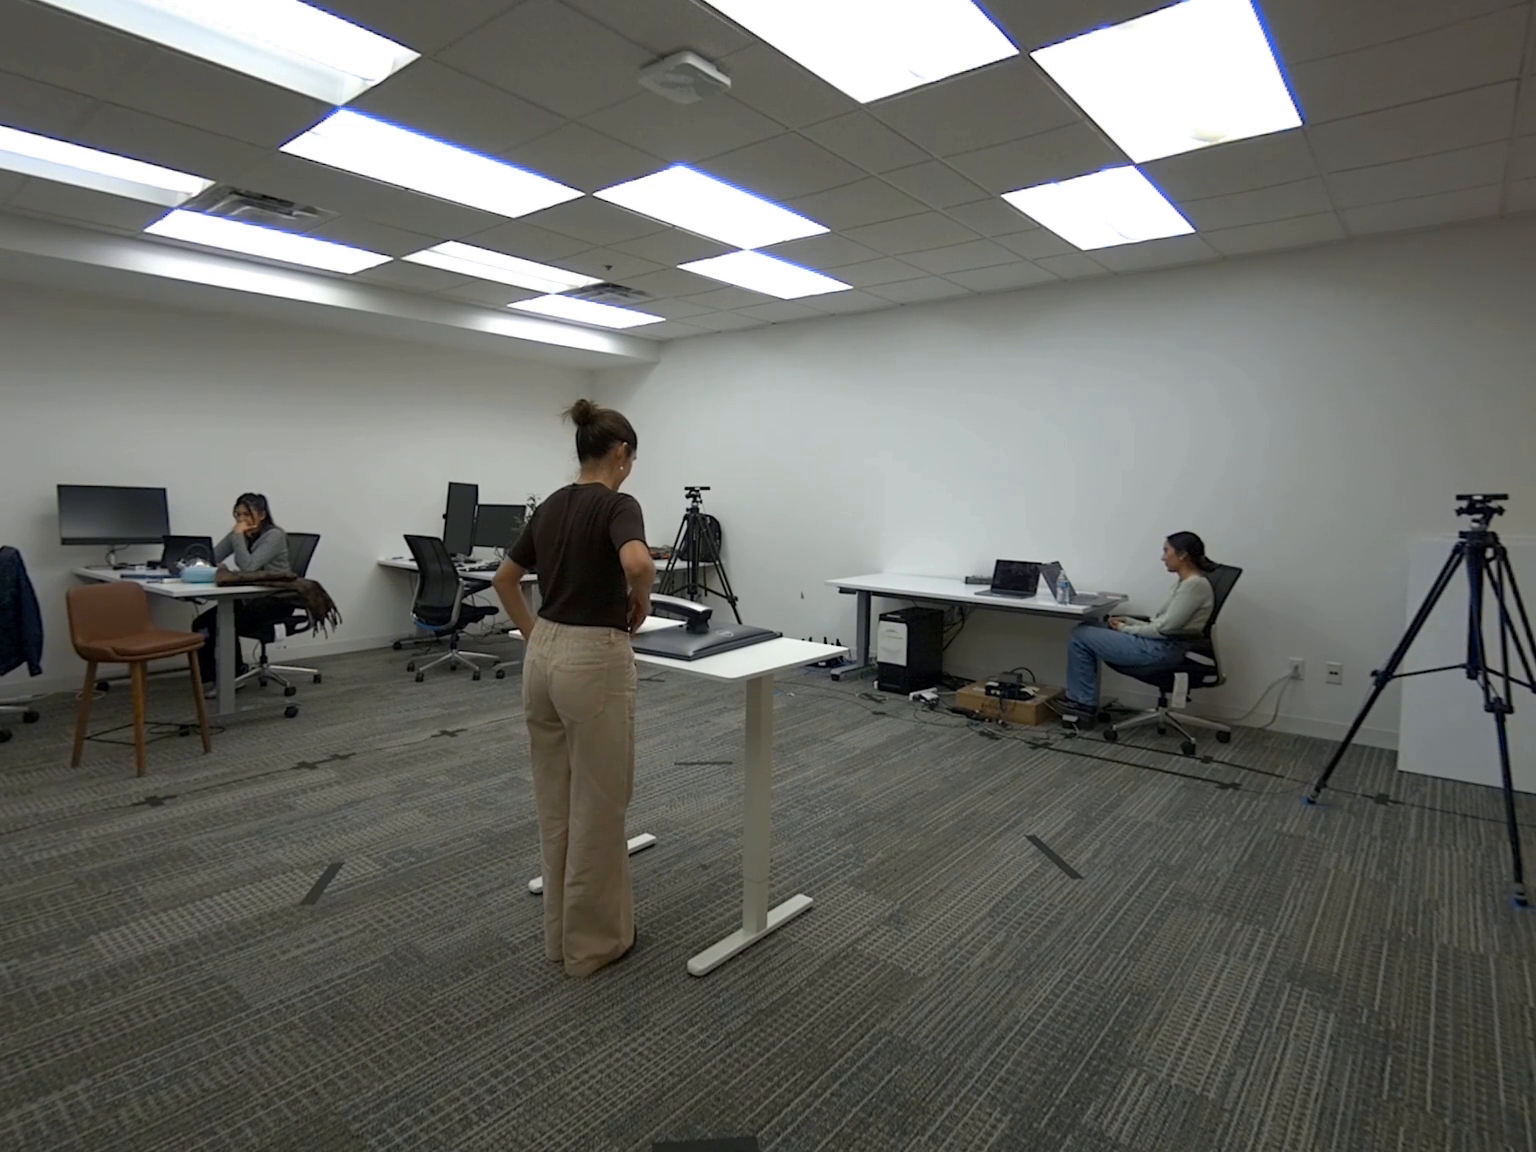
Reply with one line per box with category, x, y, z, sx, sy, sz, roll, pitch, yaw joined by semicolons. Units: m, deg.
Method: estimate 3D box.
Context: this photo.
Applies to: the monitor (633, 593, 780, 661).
monitor;-0.312;0.155;2.845;0.542;0.185;0.525;19;17;32
